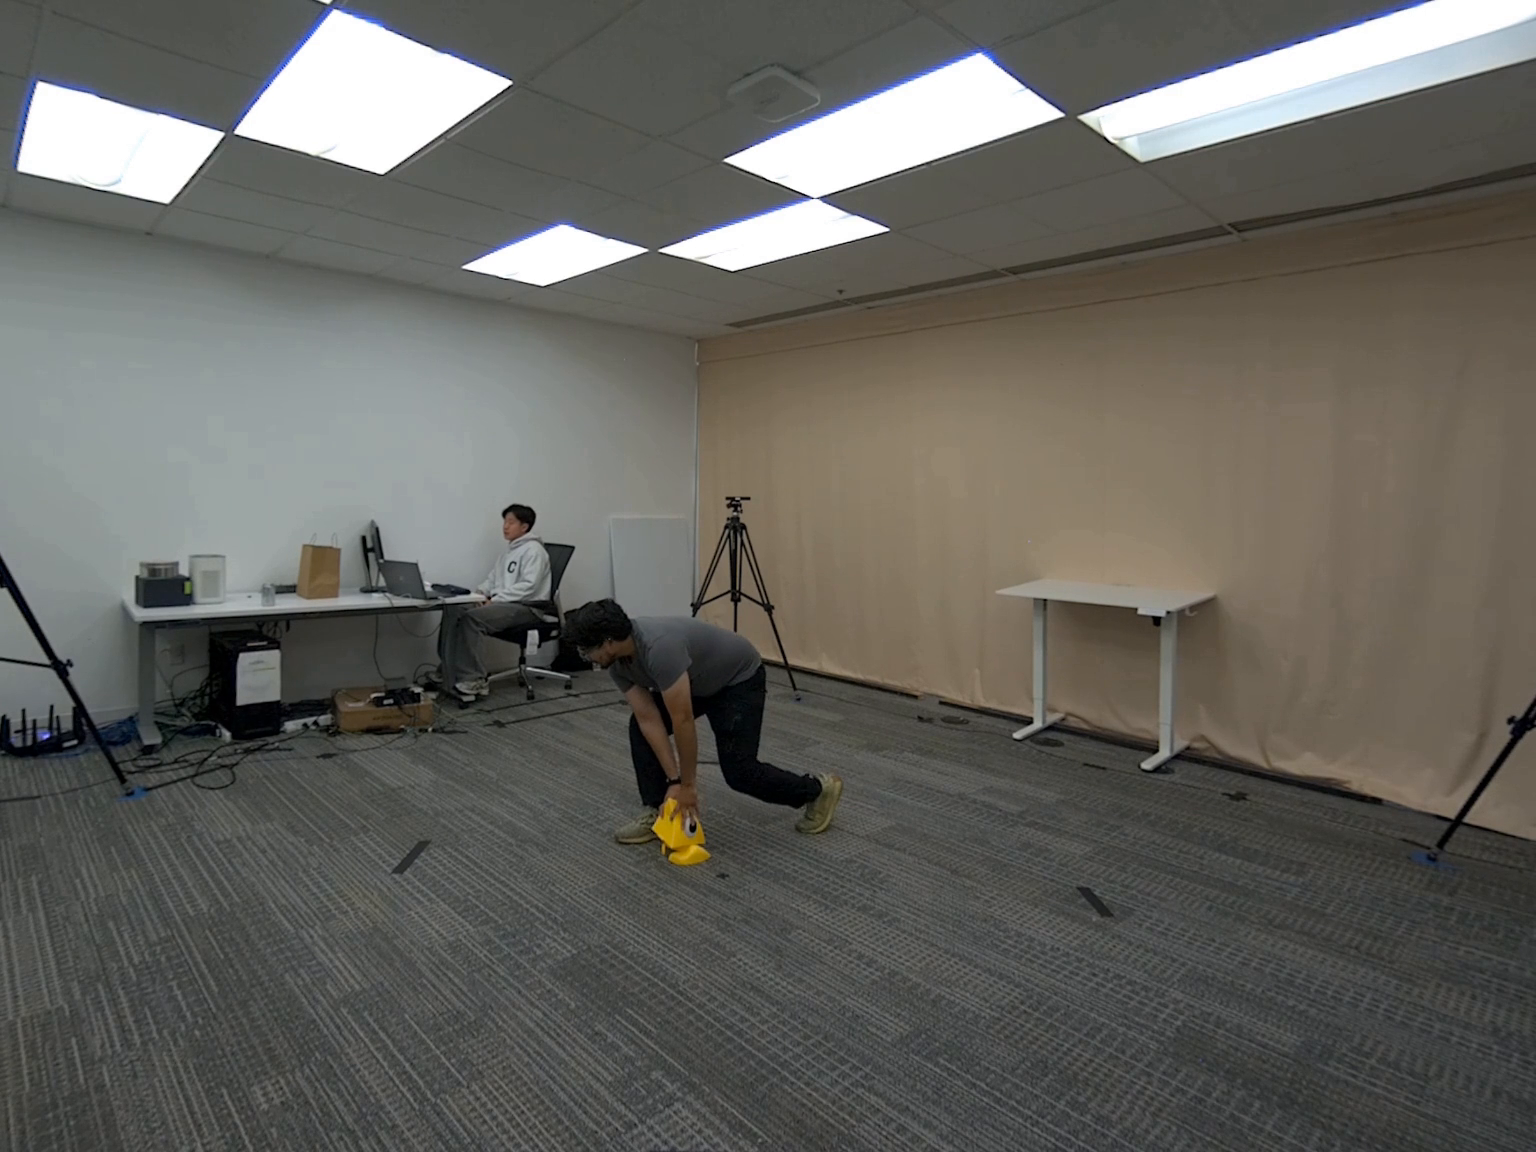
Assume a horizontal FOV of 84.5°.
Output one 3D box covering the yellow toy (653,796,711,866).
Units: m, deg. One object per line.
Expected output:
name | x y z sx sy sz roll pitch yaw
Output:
yellow toy | -0.340 0.976 3.286 0.189 0.230 0.209 -1 4 -28
